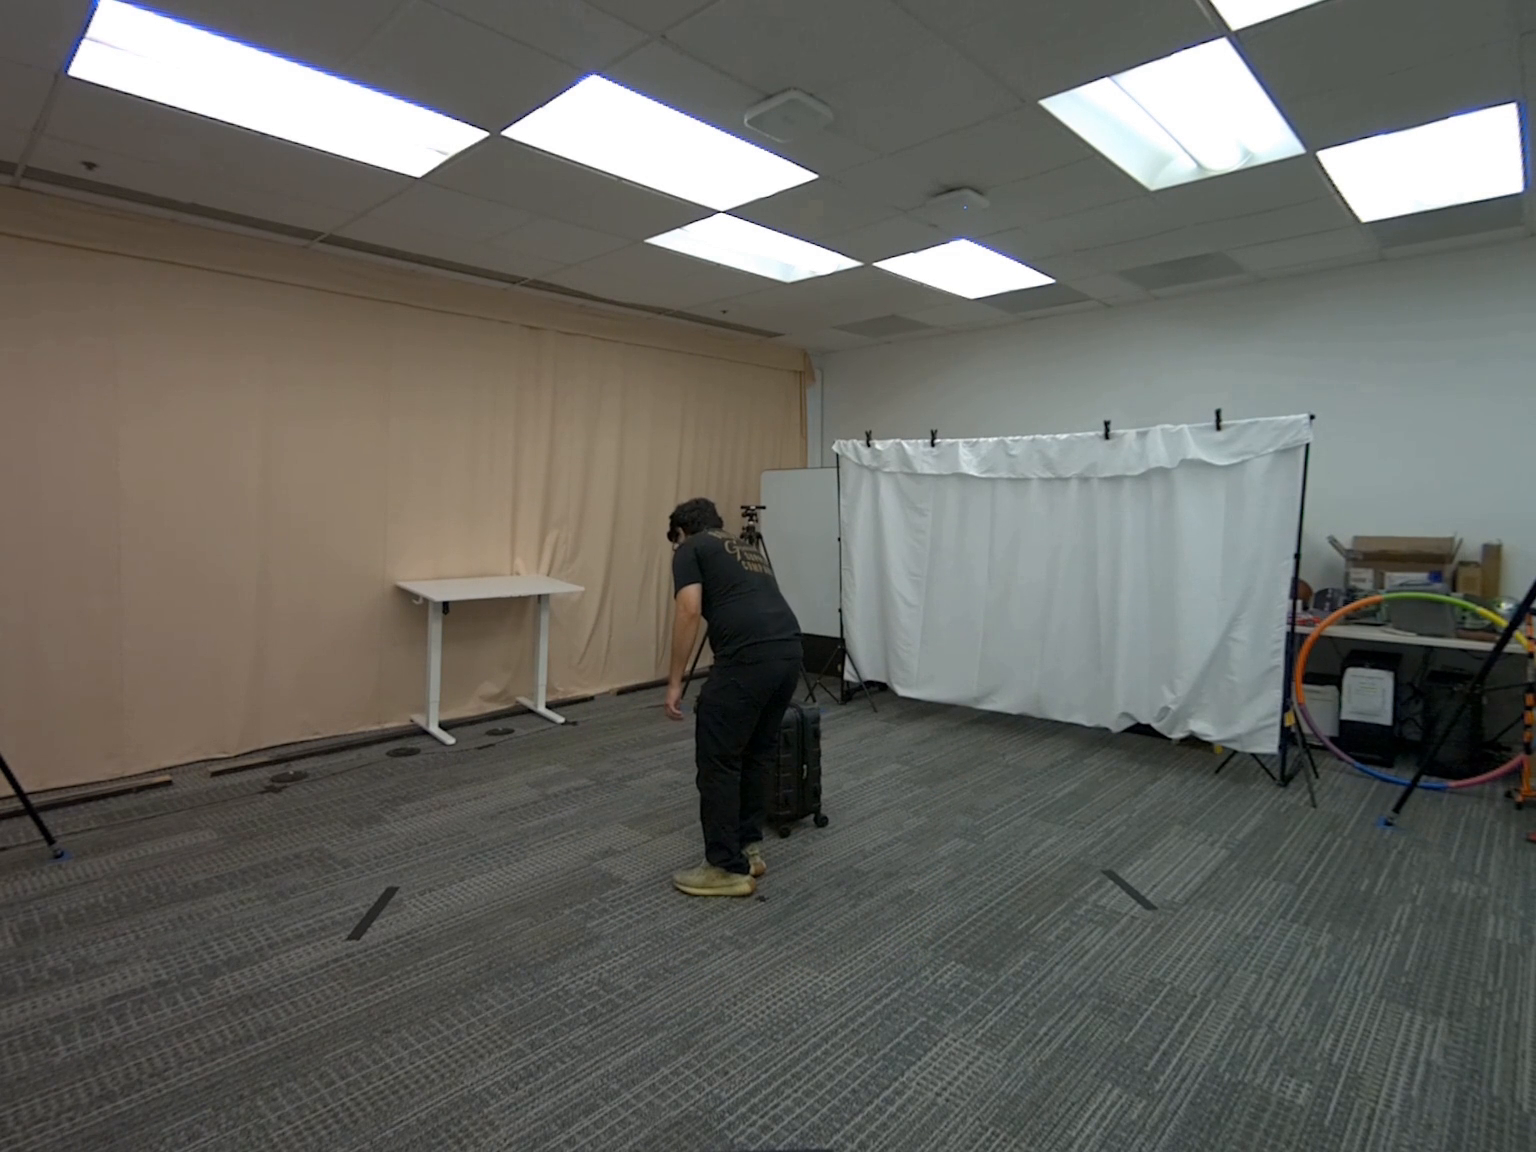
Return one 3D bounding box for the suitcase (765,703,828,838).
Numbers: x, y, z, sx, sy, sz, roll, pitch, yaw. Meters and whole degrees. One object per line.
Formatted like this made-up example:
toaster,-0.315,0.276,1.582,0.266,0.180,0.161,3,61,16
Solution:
suitcase,0.050,0.810,3.711,0.241,0.548,0.387,-3,4,-35
